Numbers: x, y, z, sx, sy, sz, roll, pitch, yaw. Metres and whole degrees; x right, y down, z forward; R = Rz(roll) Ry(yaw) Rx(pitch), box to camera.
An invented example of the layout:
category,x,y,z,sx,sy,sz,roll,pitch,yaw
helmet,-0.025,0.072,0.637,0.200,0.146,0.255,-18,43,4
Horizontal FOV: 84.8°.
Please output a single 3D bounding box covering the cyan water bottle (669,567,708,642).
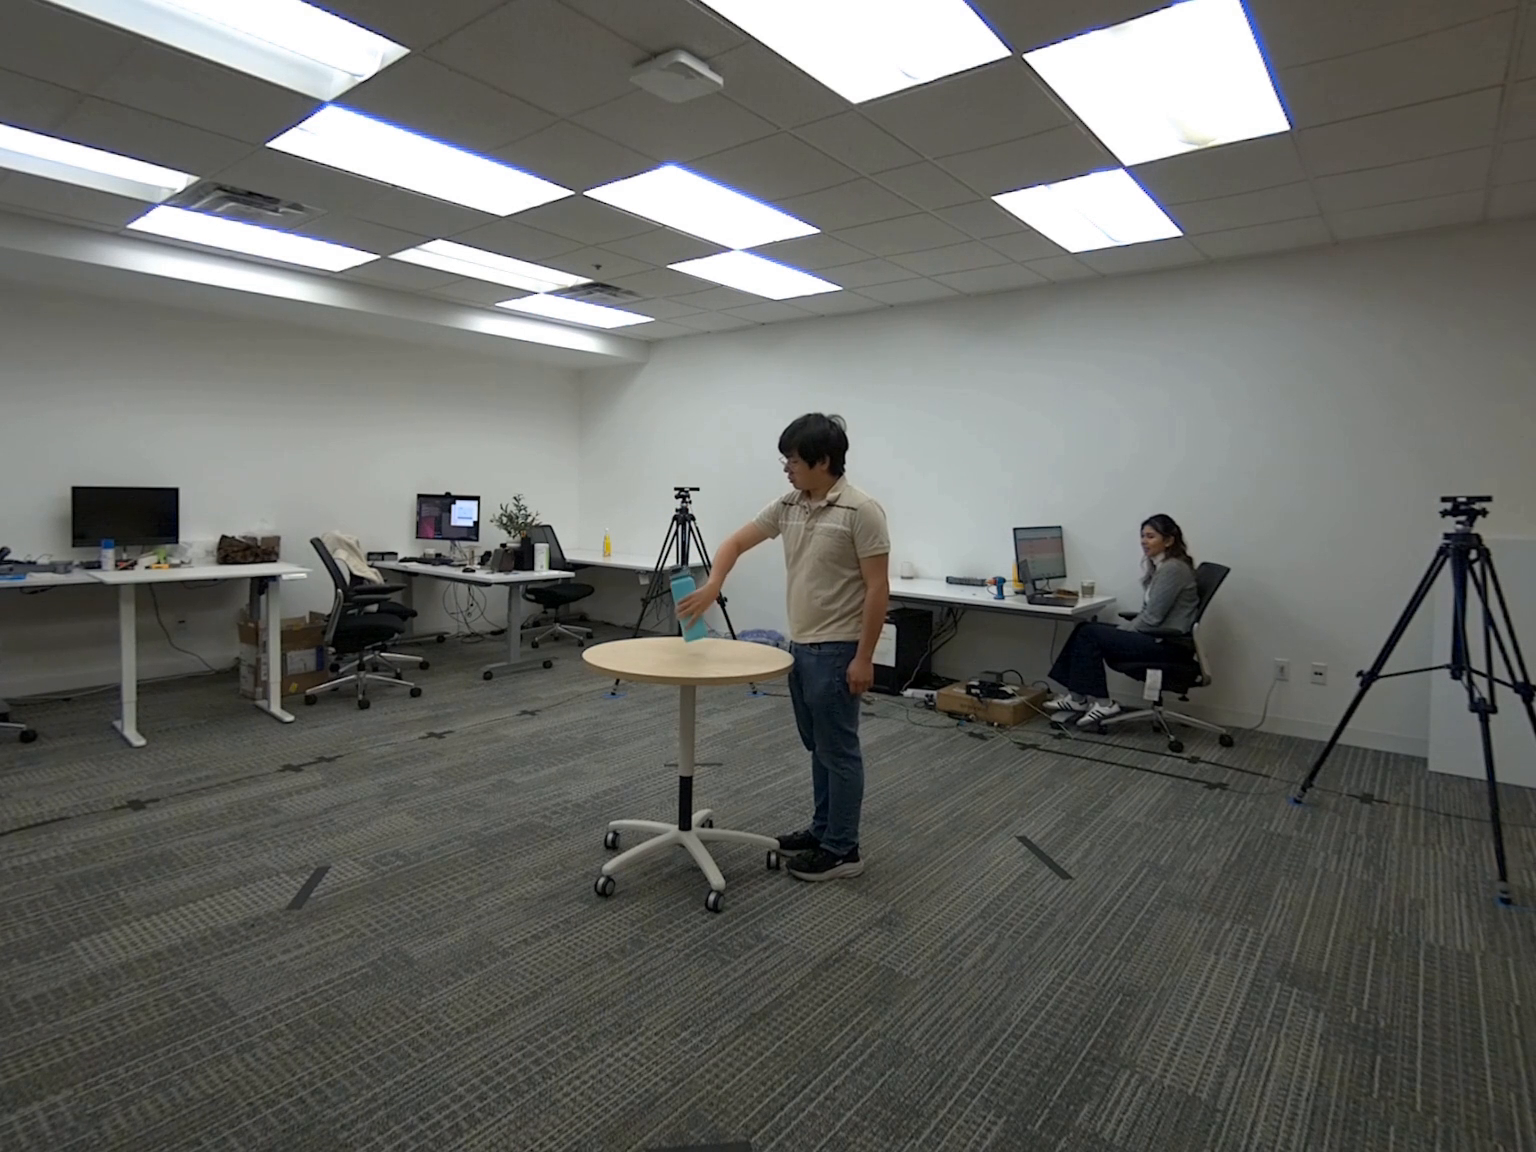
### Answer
category,x,y,z,sx,sy,sz,roll,pitch,yaw
cyan water bottle,-0.306,0.072,3.120,0.092,0.285,0.092,-12,-3,-2
